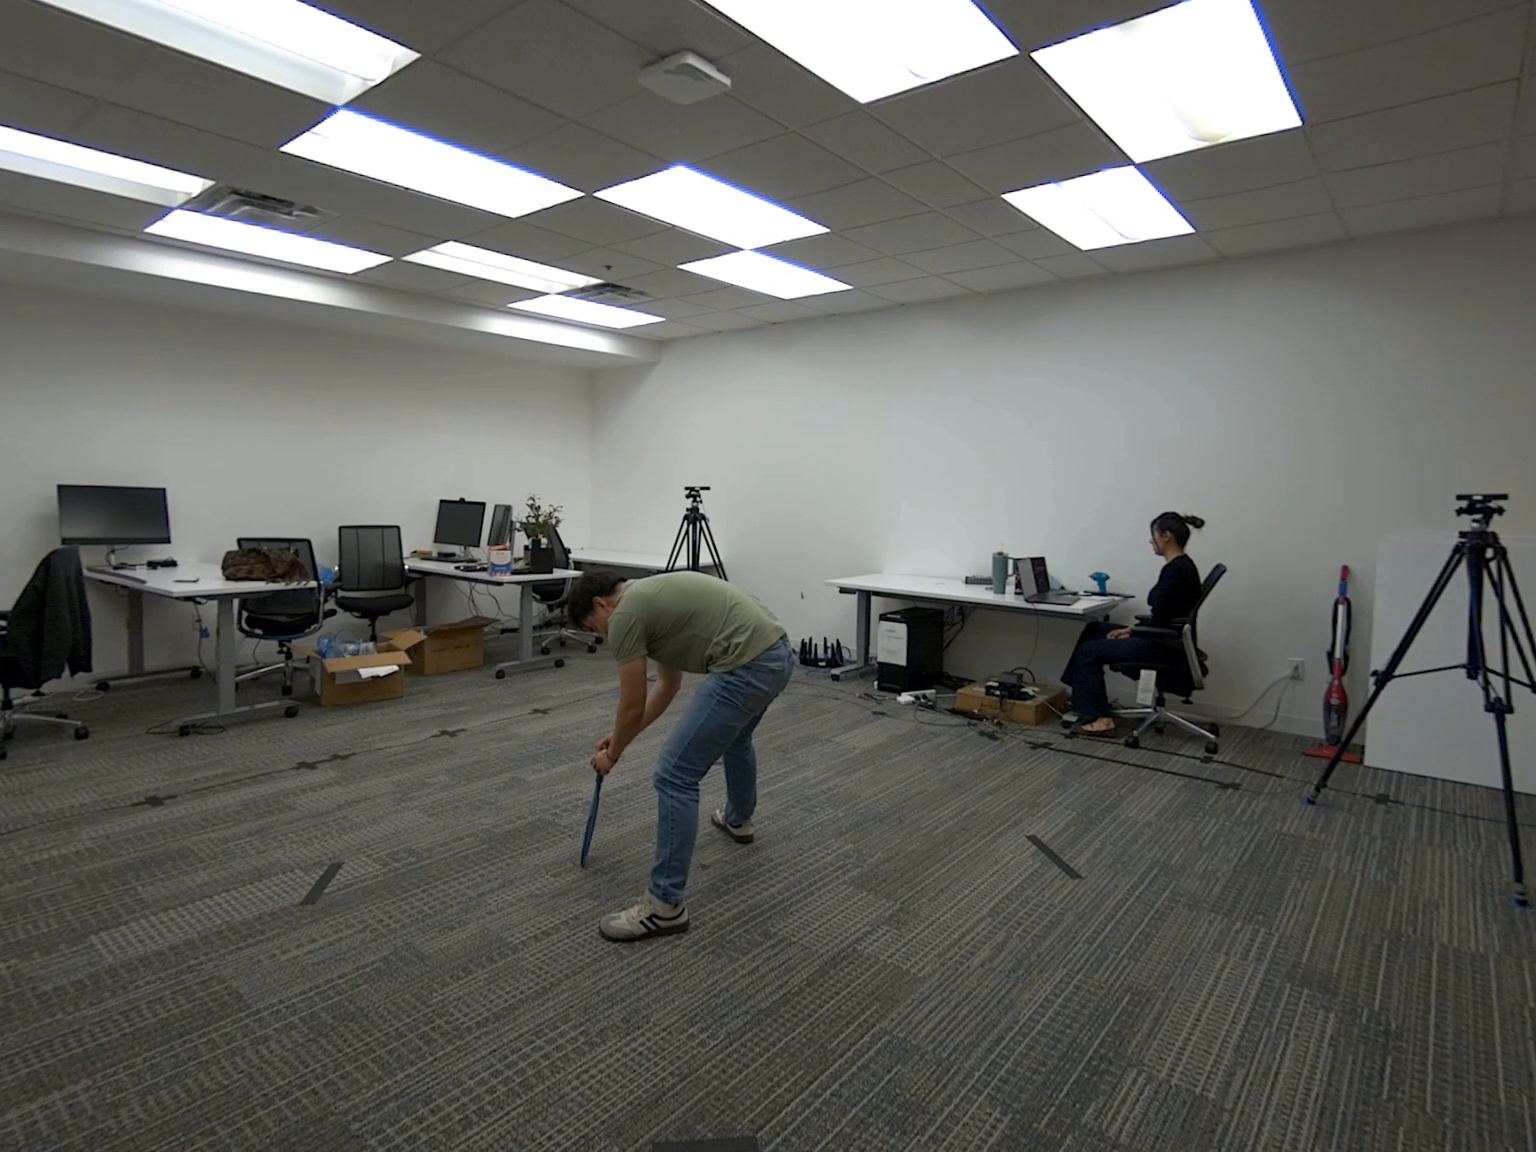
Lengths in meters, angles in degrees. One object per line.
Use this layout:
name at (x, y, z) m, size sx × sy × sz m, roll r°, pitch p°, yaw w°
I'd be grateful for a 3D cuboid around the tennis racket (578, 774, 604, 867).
tennis racket at (-0.649, 0.847, 3.125) m, size 0.032 × 0.432 × 0.214 m, roll 10°, pitch 3°, yaw 0°
